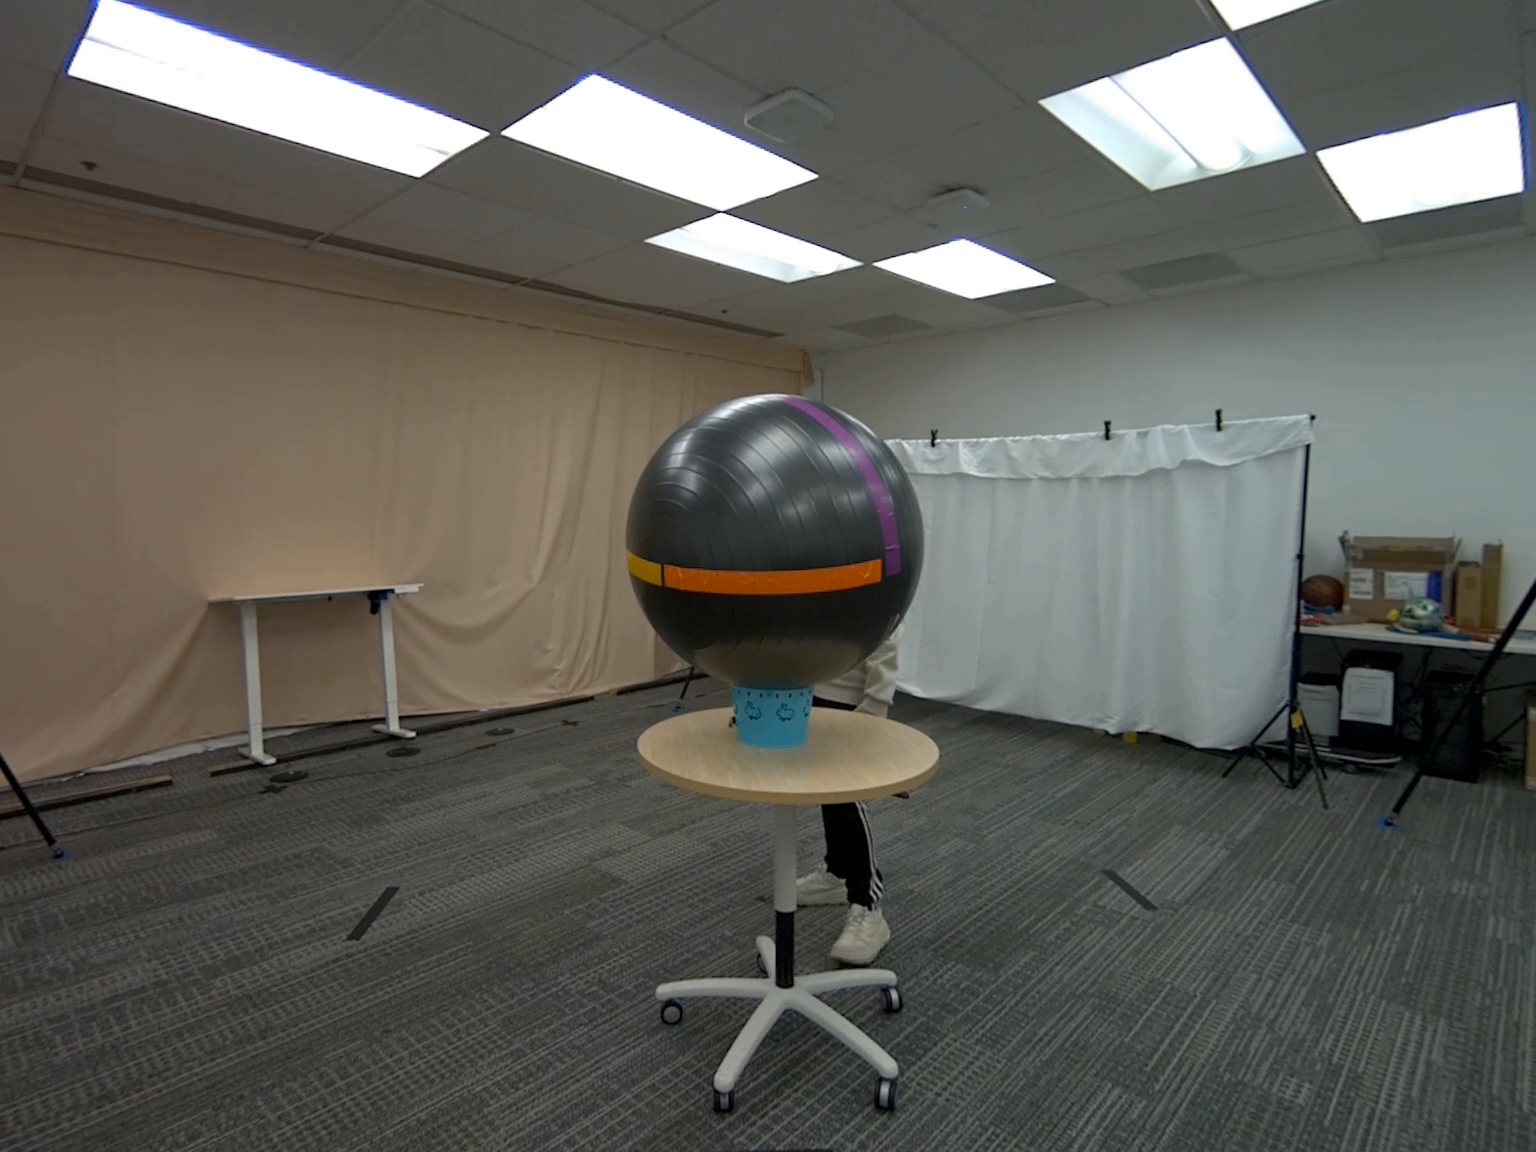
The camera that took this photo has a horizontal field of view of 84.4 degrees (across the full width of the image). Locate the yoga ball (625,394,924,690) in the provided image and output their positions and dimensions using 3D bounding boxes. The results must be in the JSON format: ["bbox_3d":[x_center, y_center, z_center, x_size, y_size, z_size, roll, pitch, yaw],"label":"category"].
[{"bbox_3d":[0.012,-0.081,2.167,0.757,0.756,0.760,0,4,-2],"label":"yoga ball"}]
